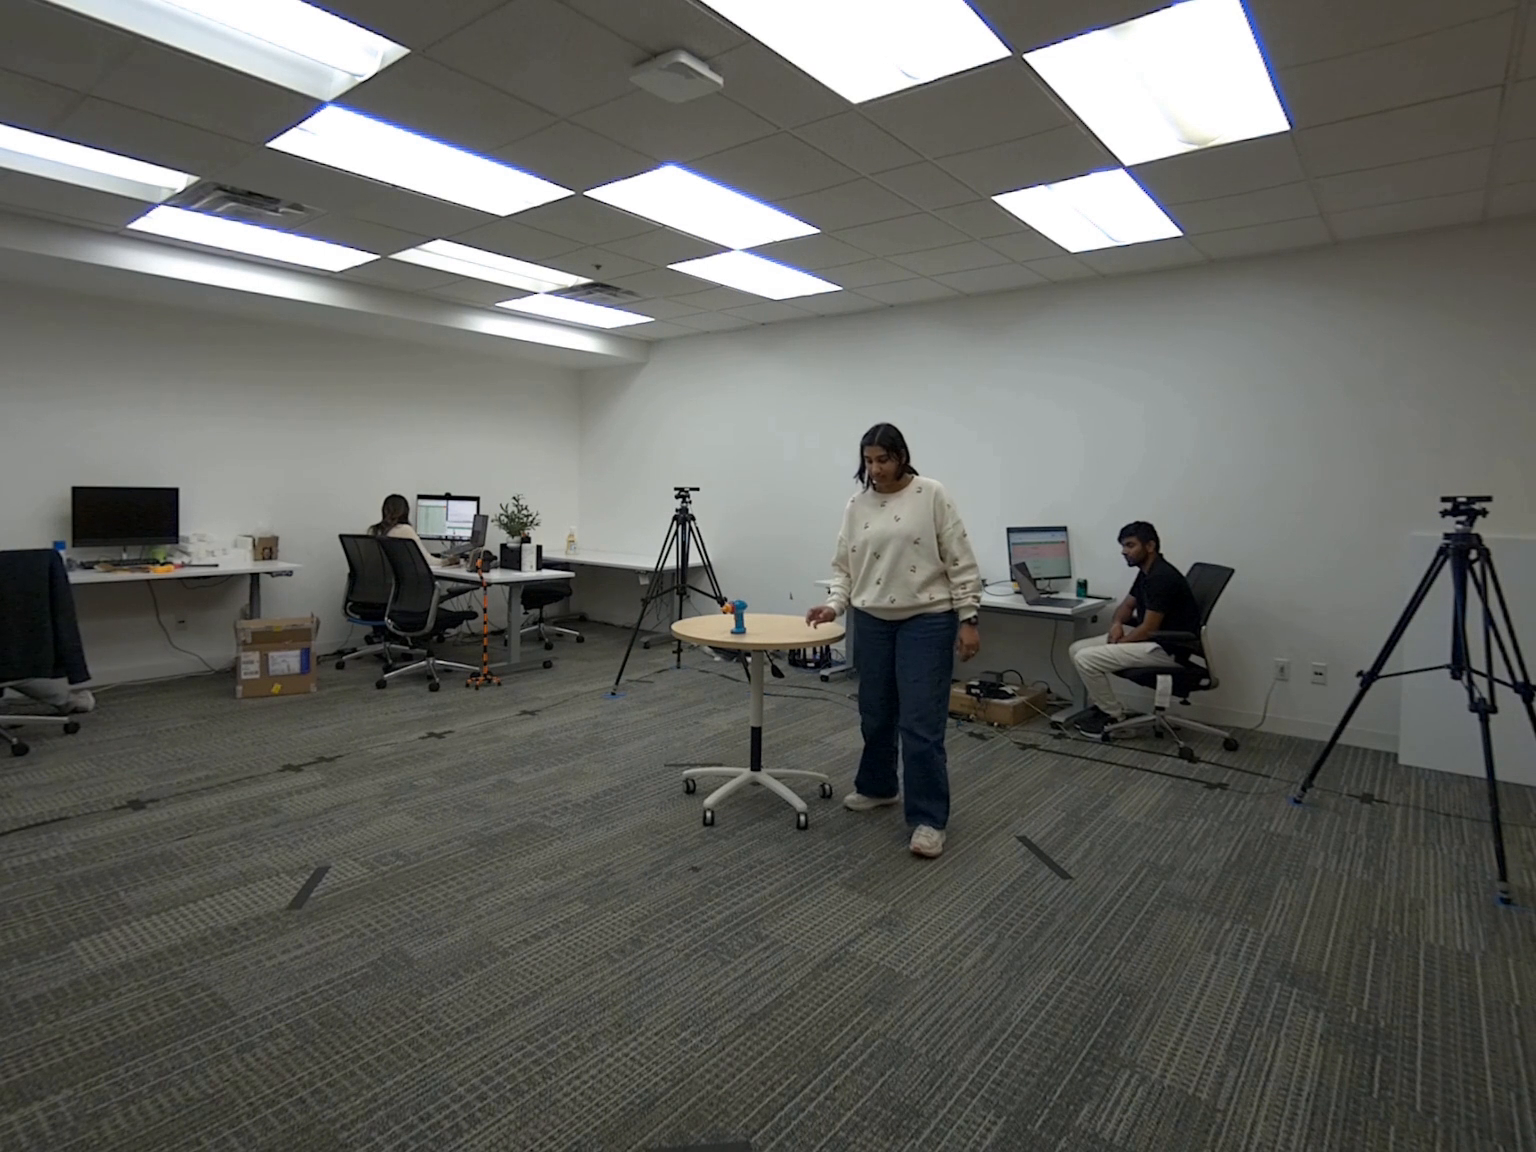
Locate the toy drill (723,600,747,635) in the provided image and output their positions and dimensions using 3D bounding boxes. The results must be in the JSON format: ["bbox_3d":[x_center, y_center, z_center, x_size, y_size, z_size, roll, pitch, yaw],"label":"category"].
[{"bbox_3d":[-0.154,0.169,3.573,0.063,0.146,0.164,4,4,41],"label":"toy drill"}]
